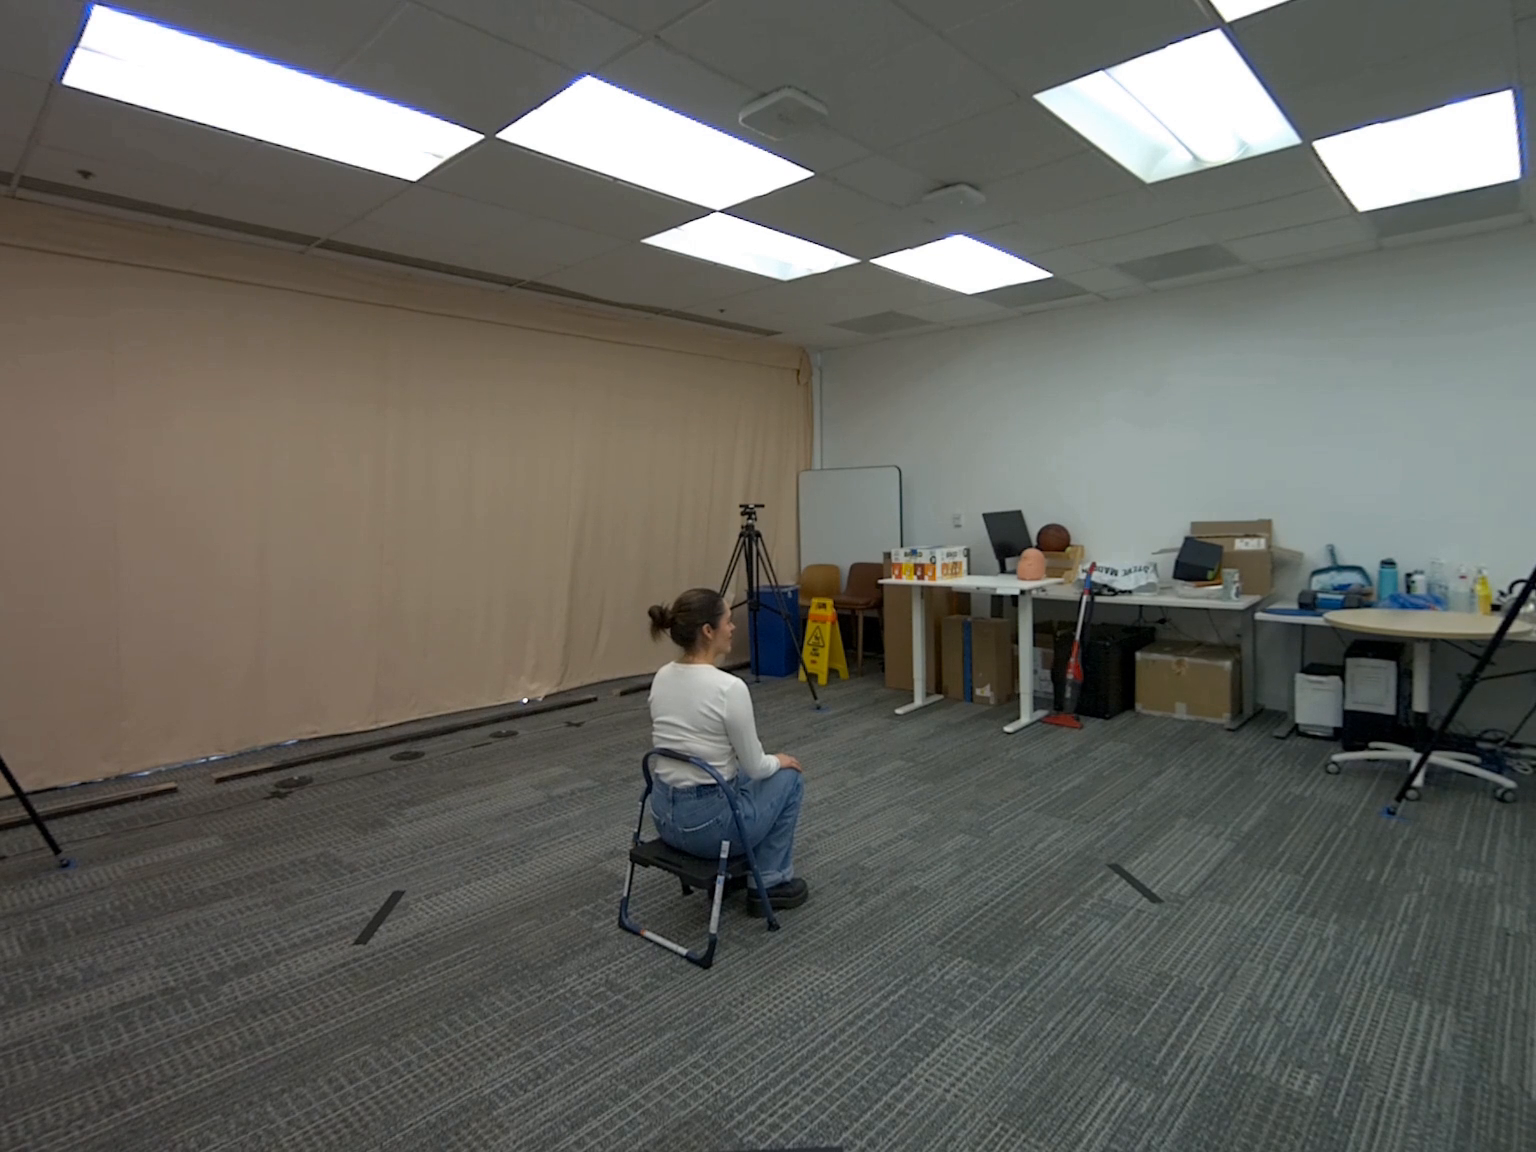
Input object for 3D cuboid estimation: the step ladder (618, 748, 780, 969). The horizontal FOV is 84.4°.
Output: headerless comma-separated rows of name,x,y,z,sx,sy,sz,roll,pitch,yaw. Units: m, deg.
step ladder,-0.241,0.859,2.765,0.445,0.605,0.339,2,4,40
